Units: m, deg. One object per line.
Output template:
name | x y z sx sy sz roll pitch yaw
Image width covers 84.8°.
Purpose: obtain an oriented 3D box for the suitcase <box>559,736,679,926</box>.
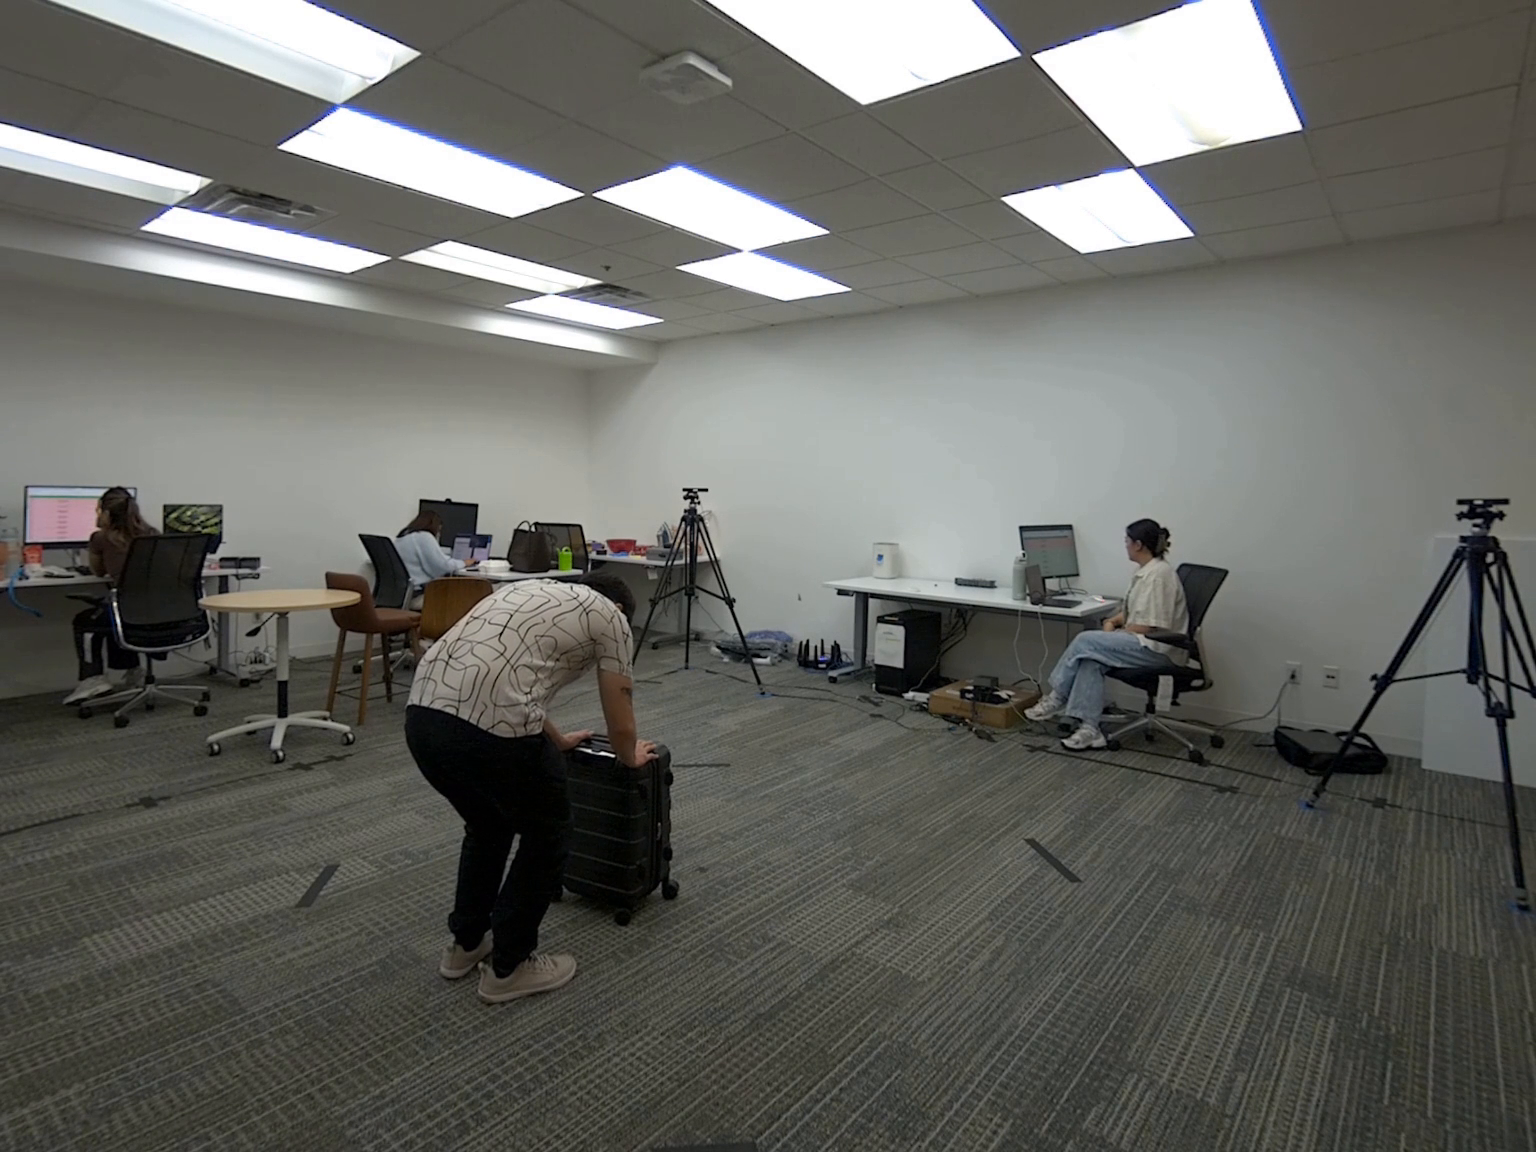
suitcase | -0.532 0.814 2.867 0.386 0.548 0.242 3 3 29
